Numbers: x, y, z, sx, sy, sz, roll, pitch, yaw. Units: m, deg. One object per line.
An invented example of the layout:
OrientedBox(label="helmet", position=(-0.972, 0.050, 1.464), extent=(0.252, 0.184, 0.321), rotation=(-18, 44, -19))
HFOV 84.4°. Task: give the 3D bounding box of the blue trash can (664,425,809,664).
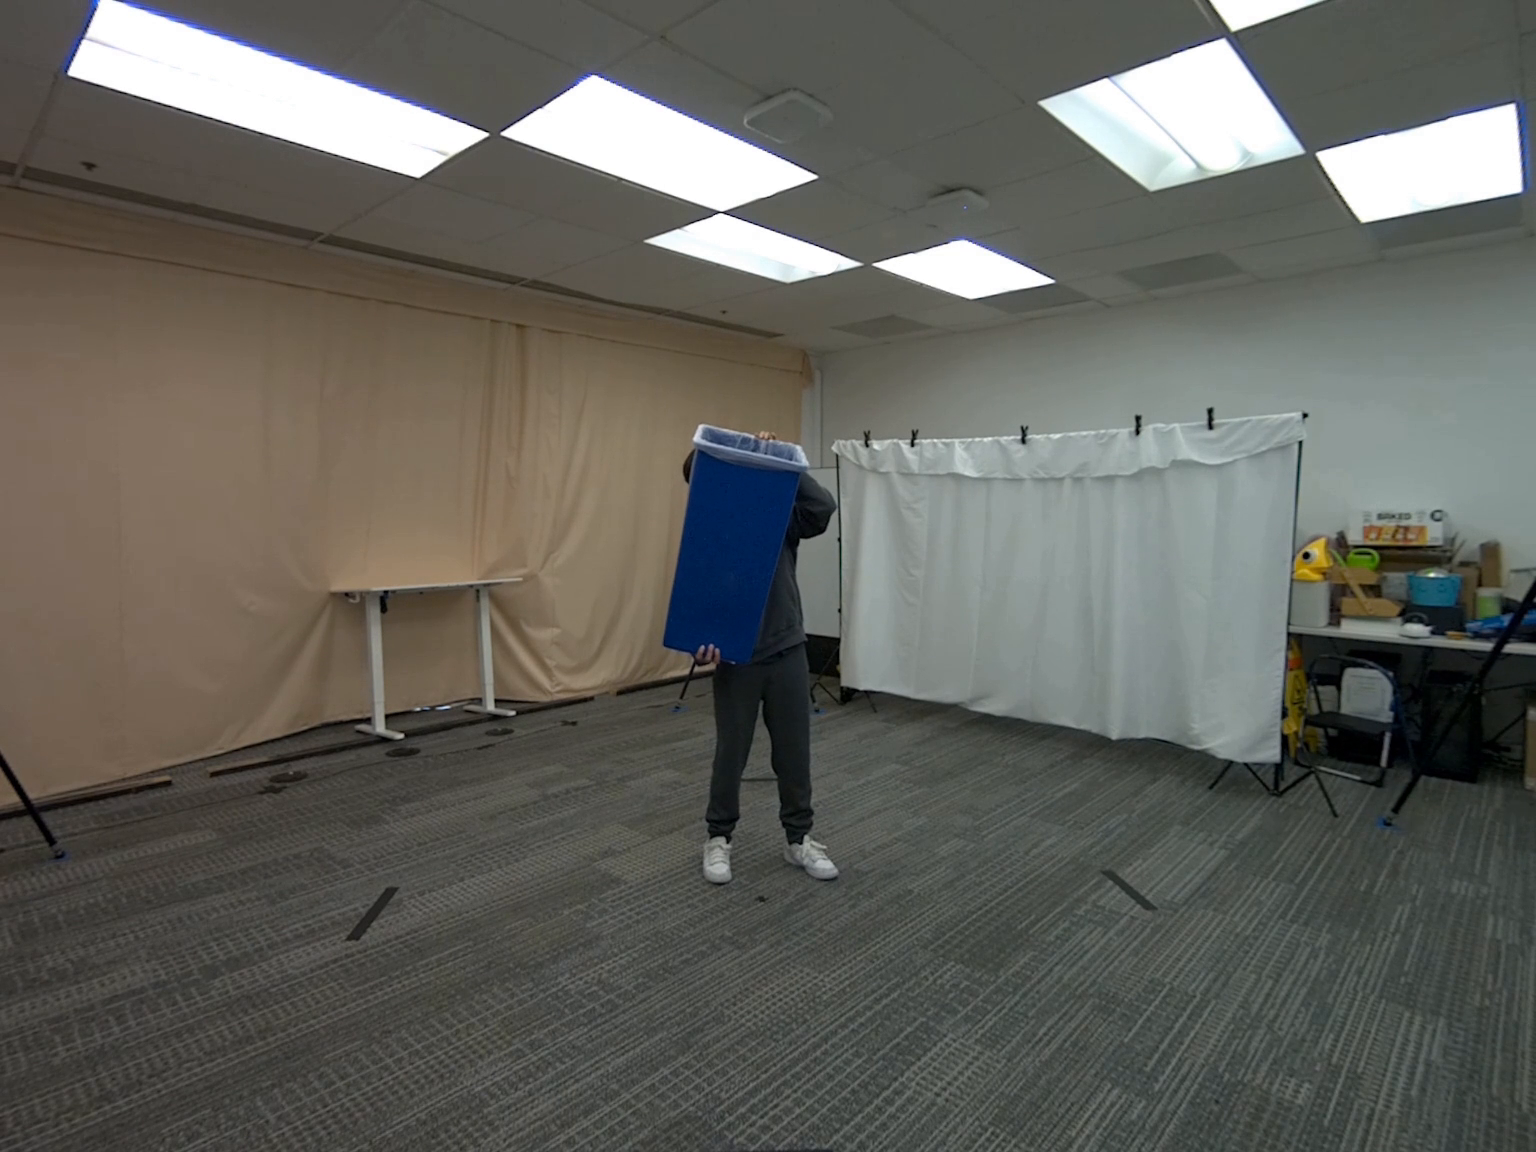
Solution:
OrientedBox(label="blue trash can", position=(-0.131, -0.111, 2.875), extent=(0.377, 0.709, 0.377), rotation=(11, 15, -3))
